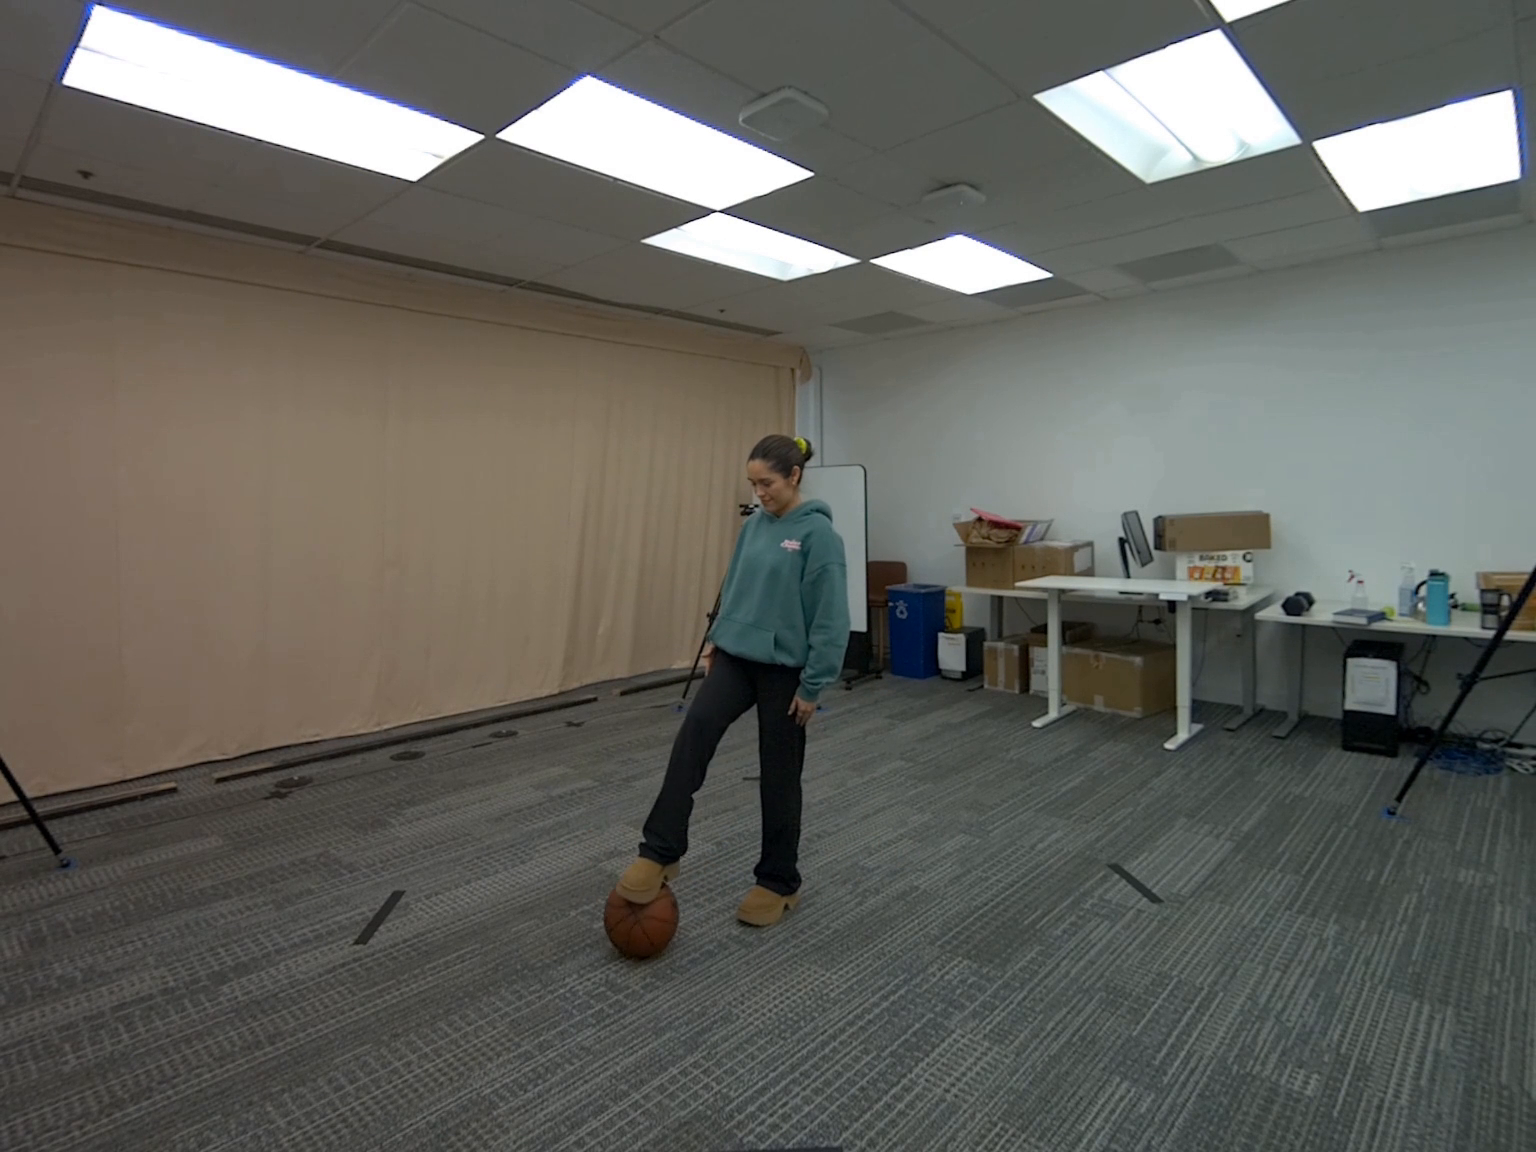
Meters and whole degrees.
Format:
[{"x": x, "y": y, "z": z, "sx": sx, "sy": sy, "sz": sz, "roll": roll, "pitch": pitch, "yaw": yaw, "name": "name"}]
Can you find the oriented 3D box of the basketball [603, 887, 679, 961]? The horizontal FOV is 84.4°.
[{"x": -0.396, "y": 1.061, "z": 2.635, "sx": 0.236, "sy": 0.235, "sz": 0.237, "roll": -1, "pitch": 4, "yaw": -2, "name": "basketball"}]
